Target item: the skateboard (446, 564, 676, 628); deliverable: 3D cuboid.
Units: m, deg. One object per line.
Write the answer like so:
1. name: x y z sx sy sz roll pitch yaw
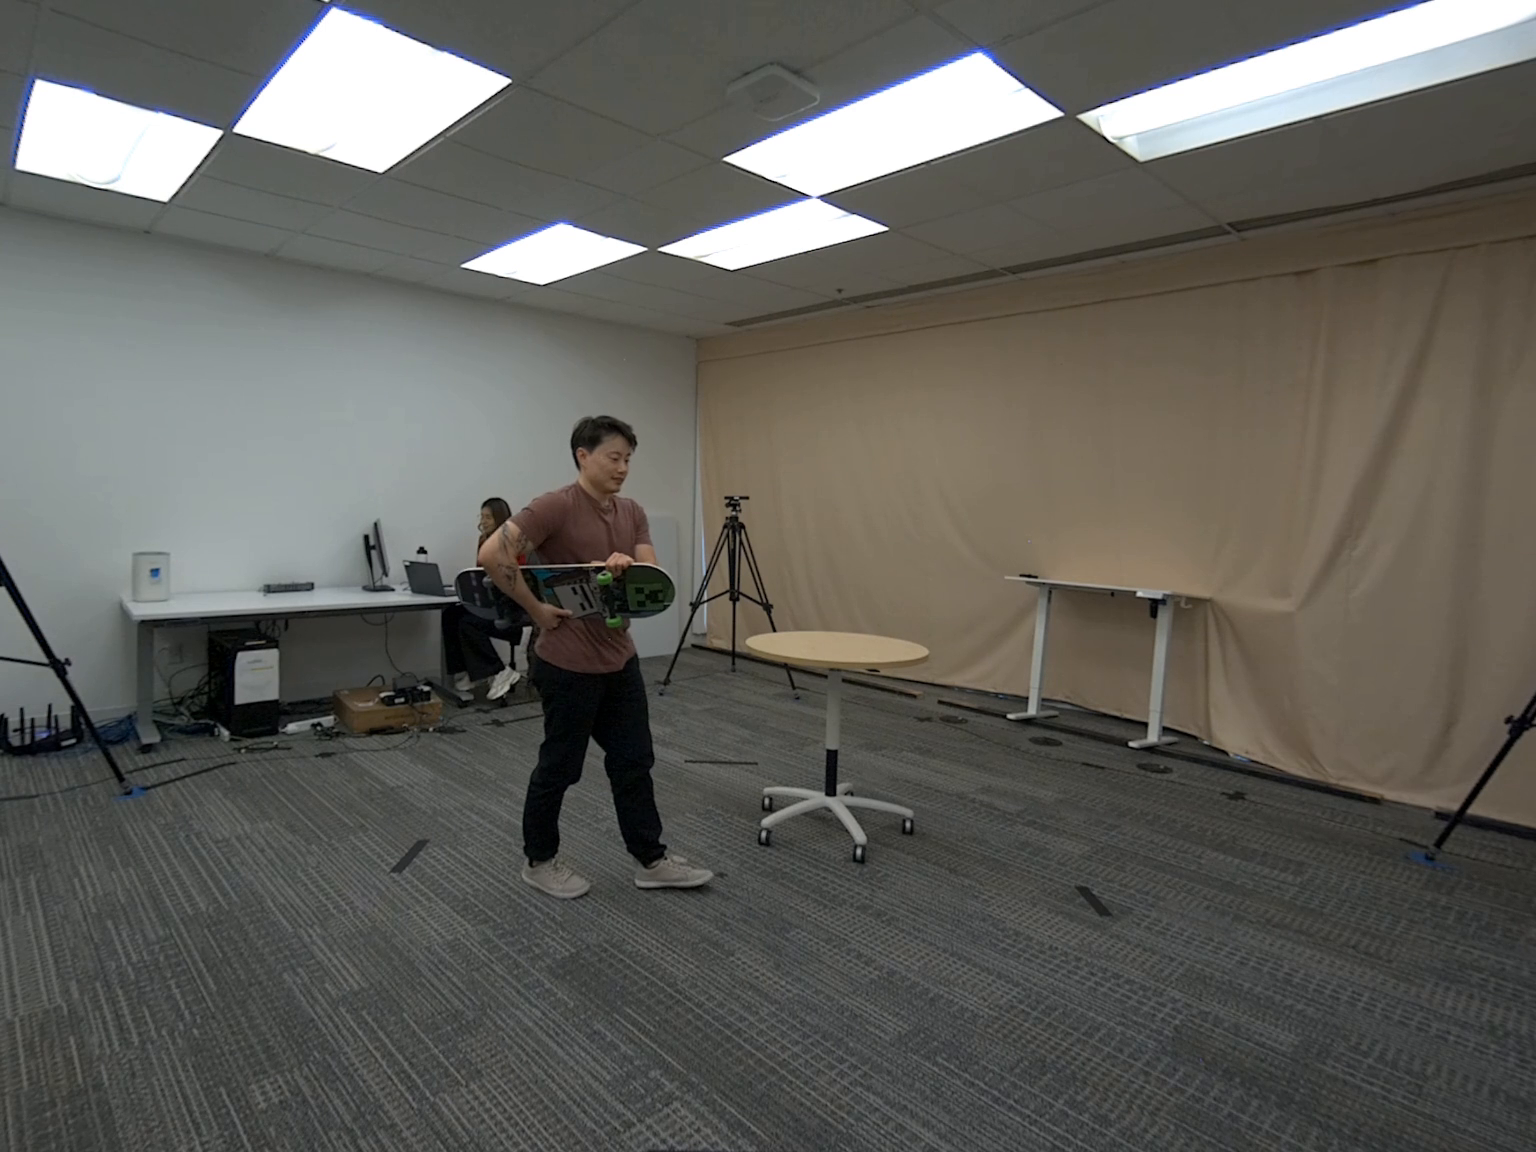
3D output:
1. skateboard: -0.676 0.063 2.716 0.794 0.190 0.111 -1 24 14
